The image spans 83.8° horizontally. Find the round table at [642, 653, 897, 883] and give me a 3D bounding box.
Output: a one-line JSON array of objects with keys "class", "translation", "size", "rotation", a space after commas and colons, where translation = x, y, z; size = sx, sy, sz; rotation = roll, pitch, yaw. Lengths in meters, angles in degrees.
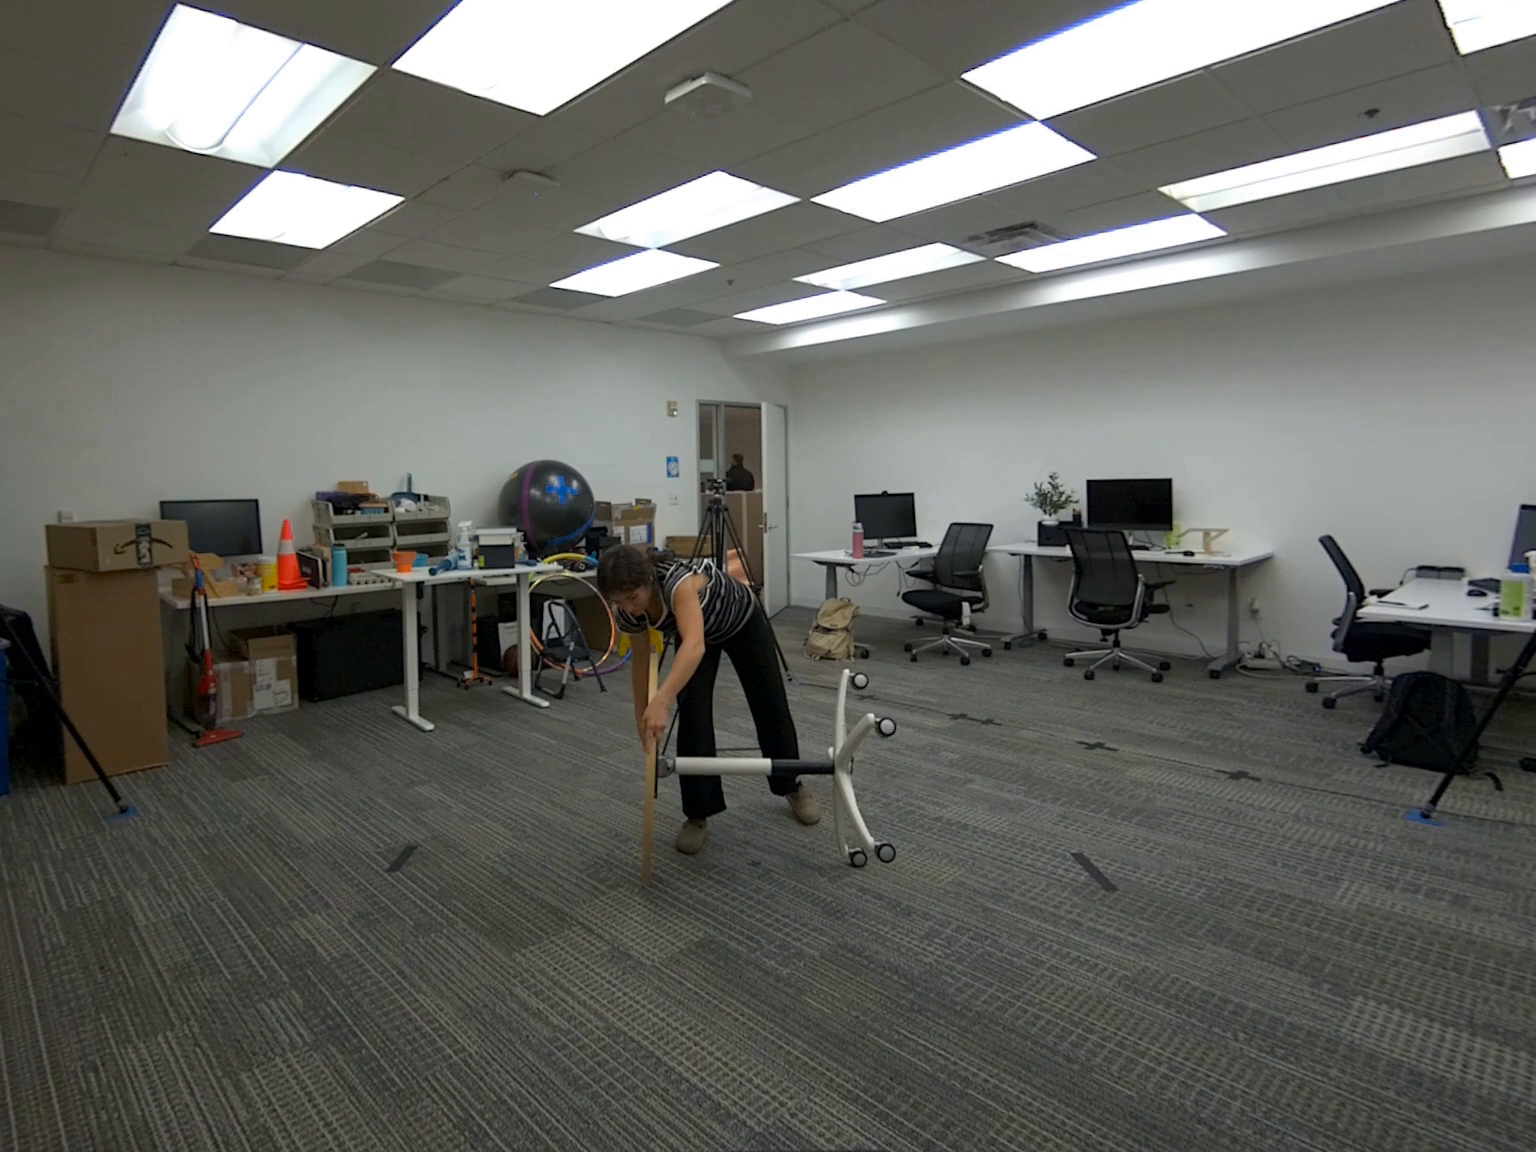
[{"class": "round table", "translation": [-0.021, 0.670, 2.978], "size": [0.790, 0.761, 0.770], "rotation": [2, 4, -5]}]
